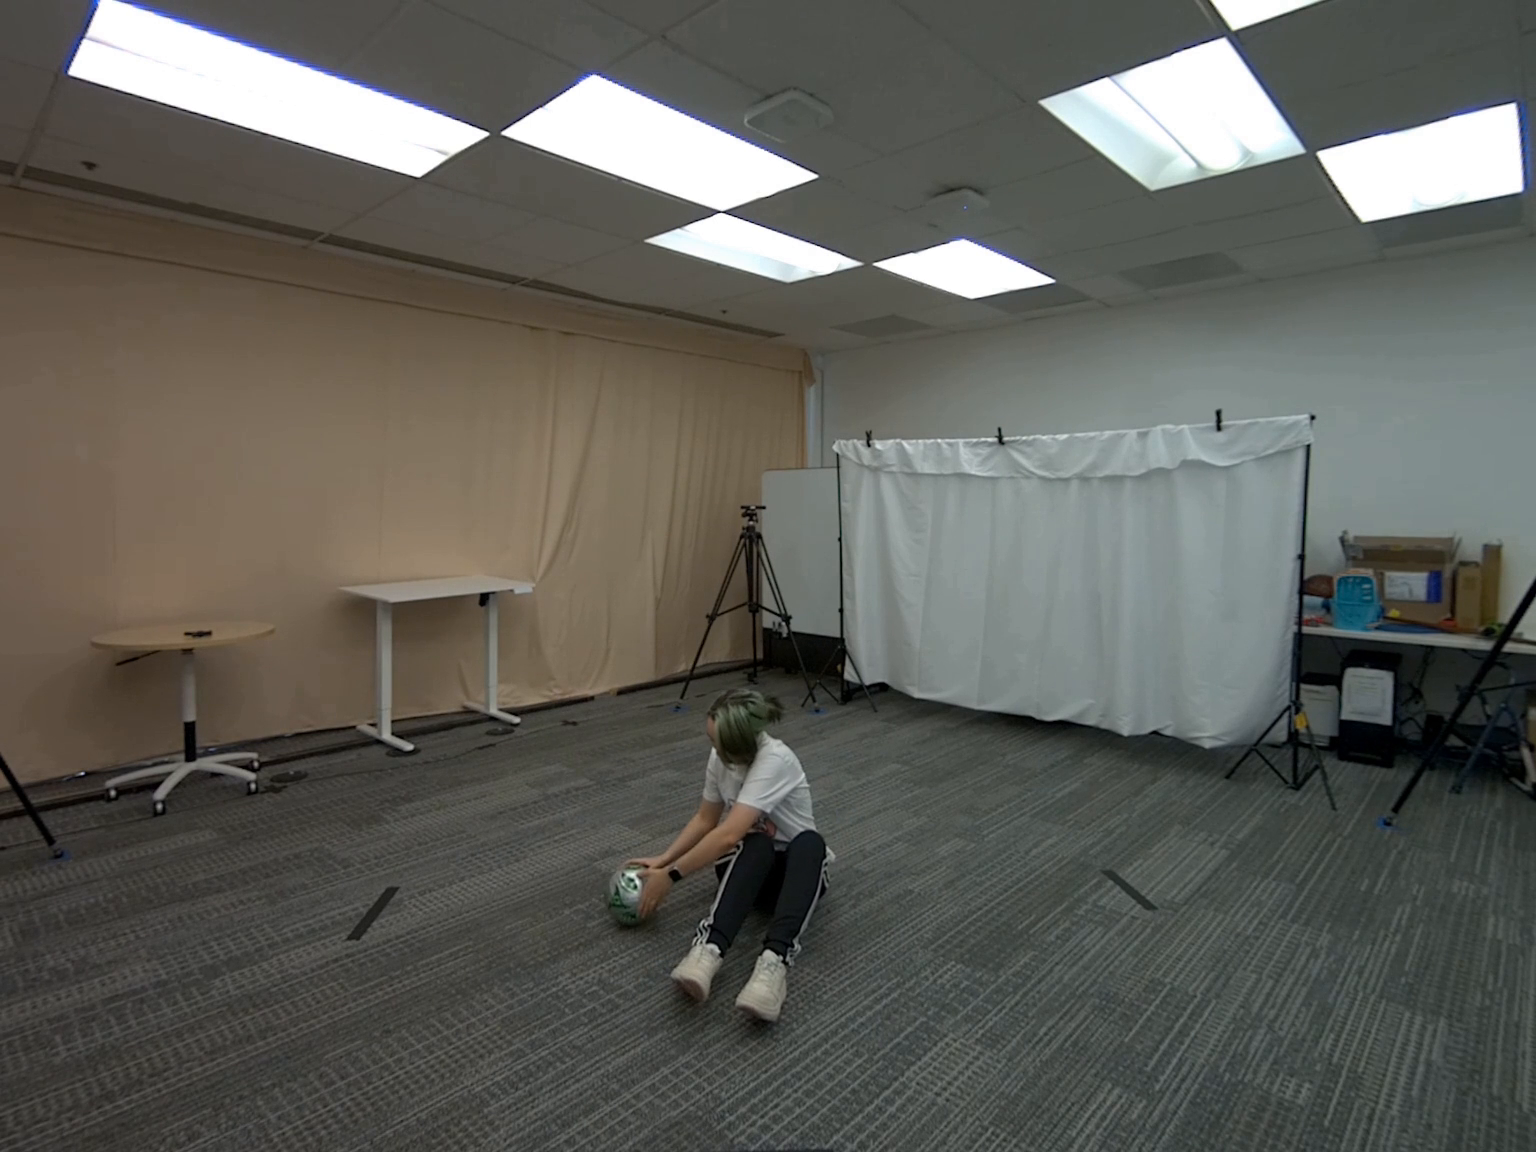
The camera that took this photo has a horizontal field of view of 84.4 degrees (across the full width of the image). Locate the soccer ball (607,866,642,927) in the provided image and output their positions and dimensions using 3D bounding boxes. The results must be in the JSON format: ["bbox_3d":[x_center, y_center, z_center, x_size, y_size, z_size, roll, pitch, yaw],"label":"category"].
[{"bbox_3d":[-0.453,1.056,2.793,0.187,0.187,0.188,0,4,-2],"label":"soccer ball"}]
